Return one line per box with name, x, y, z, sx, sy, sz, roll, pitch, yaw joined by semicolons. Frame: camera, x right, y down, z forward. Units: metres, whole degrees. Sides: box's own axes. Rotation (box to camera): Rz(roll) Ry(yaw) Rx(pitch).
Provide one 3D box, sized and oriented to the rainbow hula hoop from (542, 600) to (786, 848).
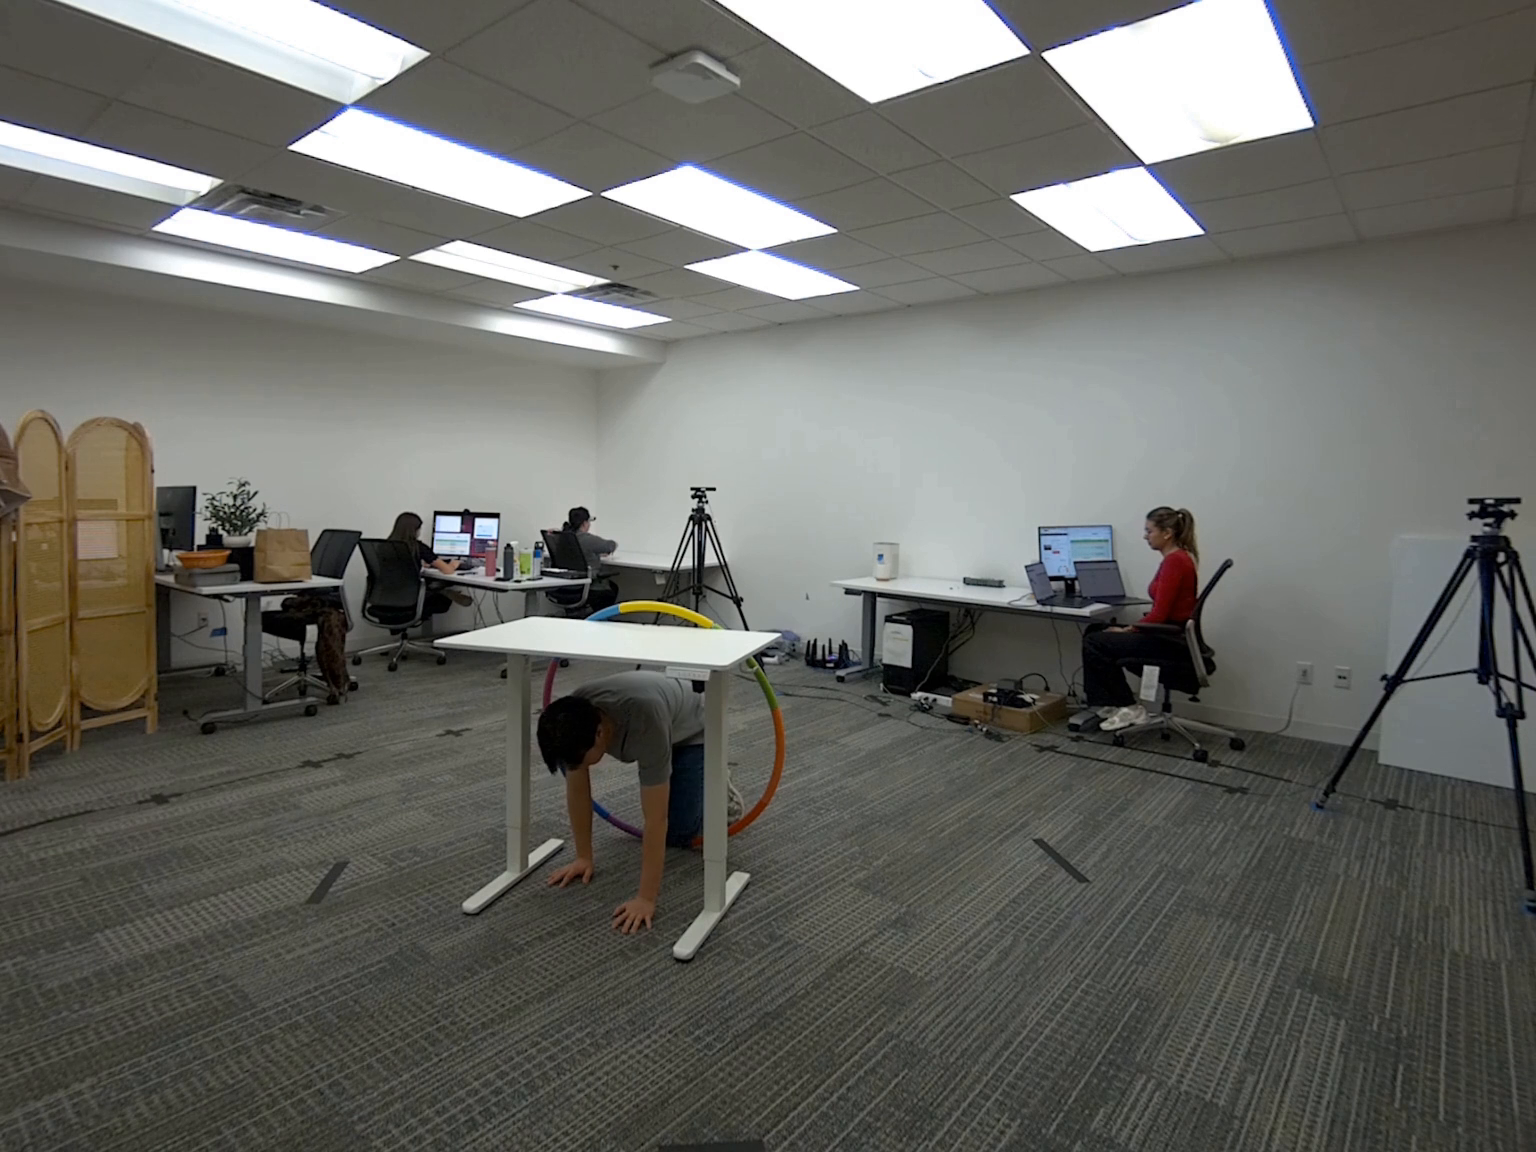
rainbow hula hoop;-0.424;0.570;3.215;0.998;0.967;0.035;3;12;18
